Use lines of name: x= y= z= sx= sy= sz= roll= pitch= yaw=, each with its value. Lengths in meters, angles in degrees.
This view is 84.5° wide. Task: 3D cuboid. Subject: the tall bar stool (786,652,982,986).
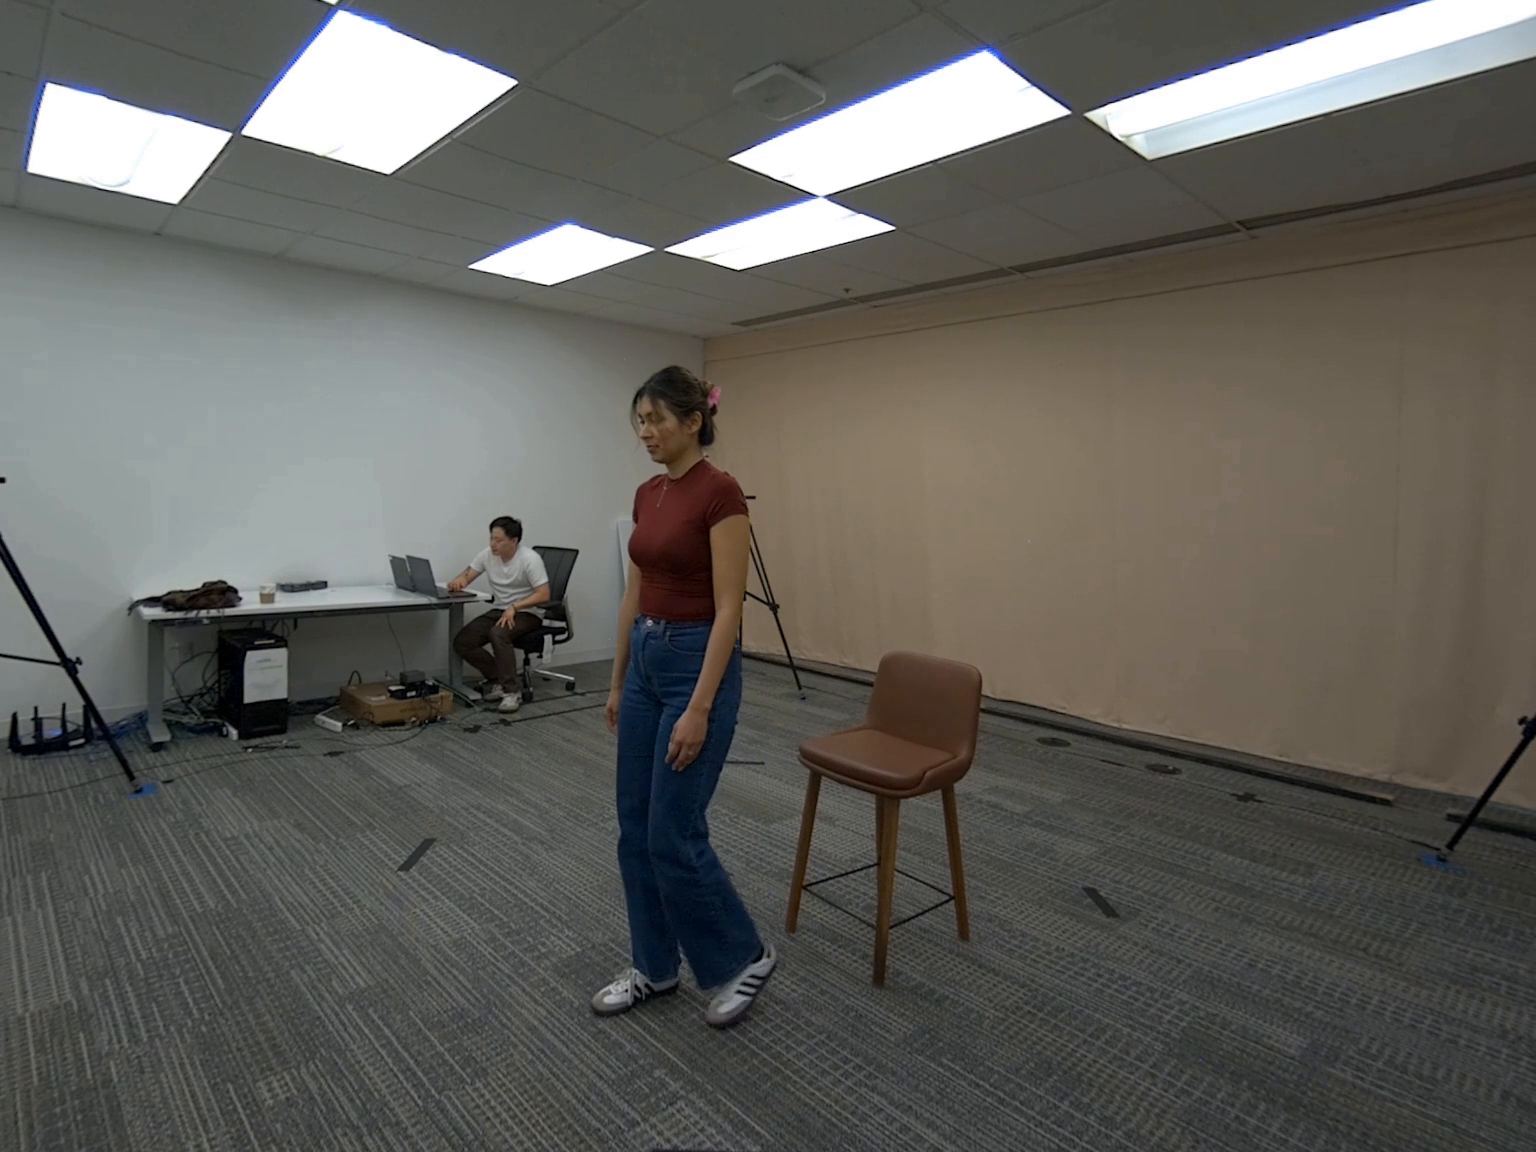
tall bar stool: x=0.369 y=0.720 z=2.671 sx=0.457 sy=0.888 sz=0.468 roll=0 pitch=4 yaw=-40
